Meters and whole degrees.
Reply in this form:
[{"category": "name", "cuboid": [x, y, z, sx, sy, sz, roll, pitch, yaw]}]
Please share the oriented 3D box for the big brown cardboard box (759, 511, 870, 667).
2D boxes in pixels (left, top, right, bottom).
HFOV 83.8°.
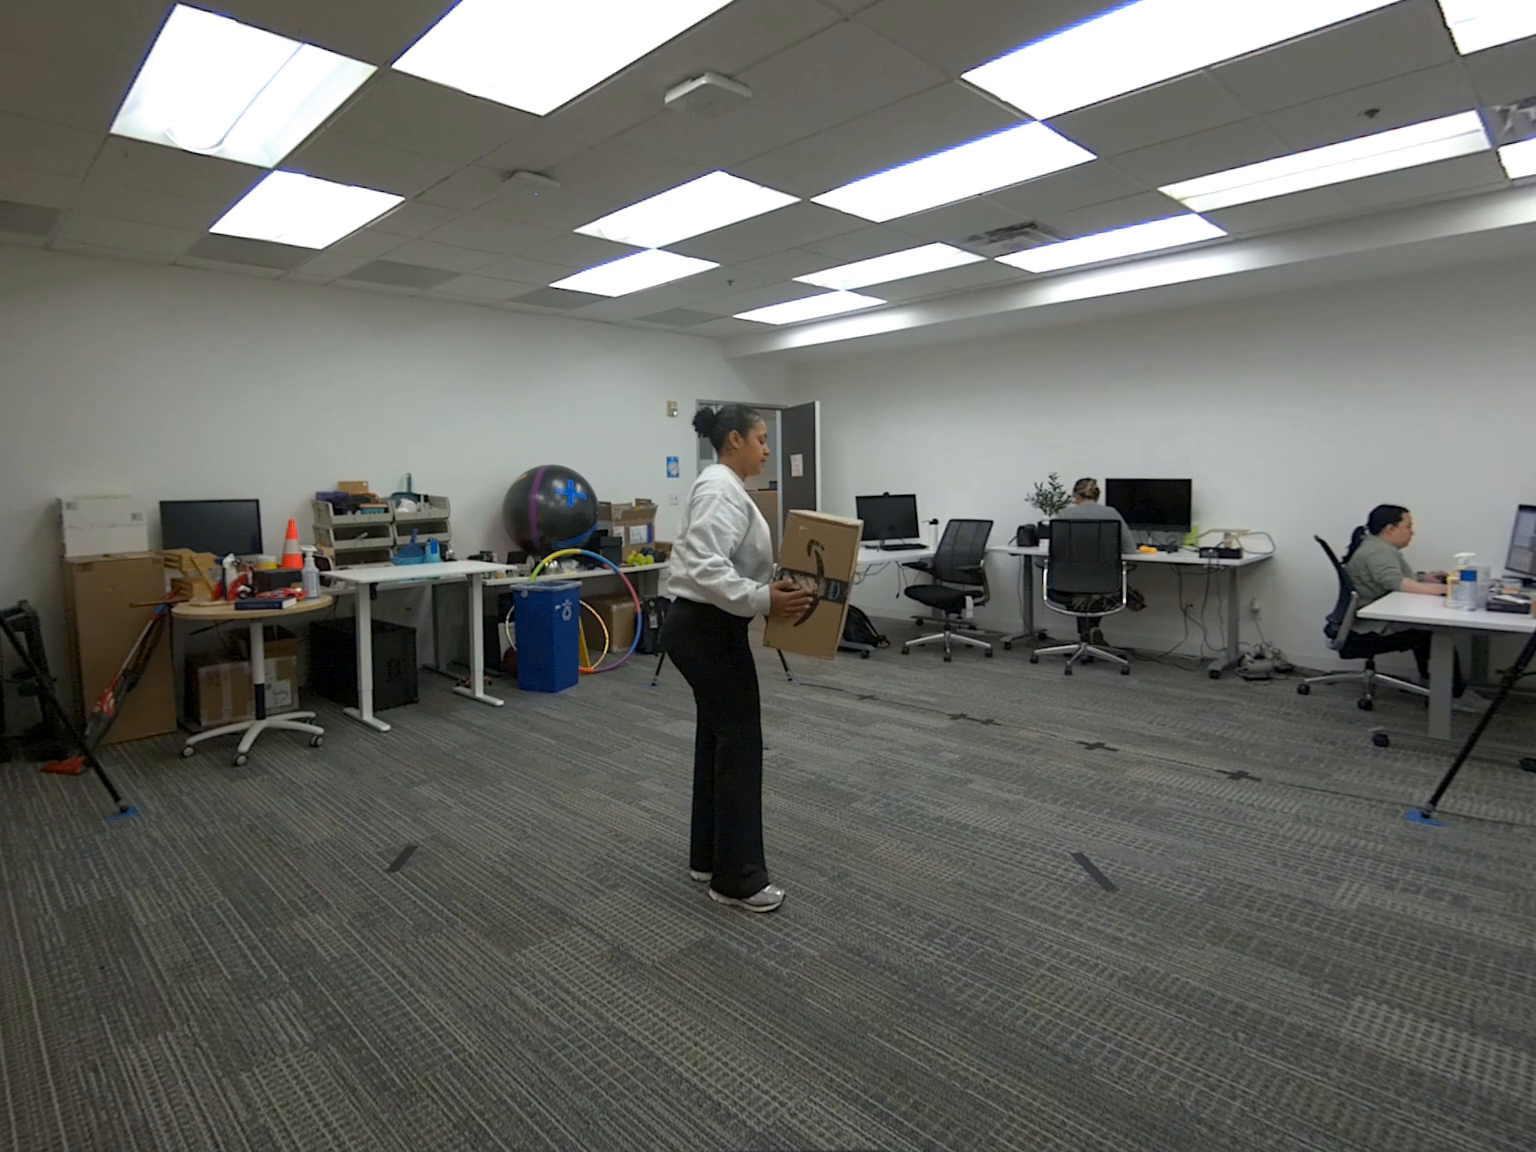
[{"category": "big brown cardboard box", "cuboid": [0.166, 0.016, 2.811, 0.236, 0.416, 0.584, 11, 5, 8]}]
